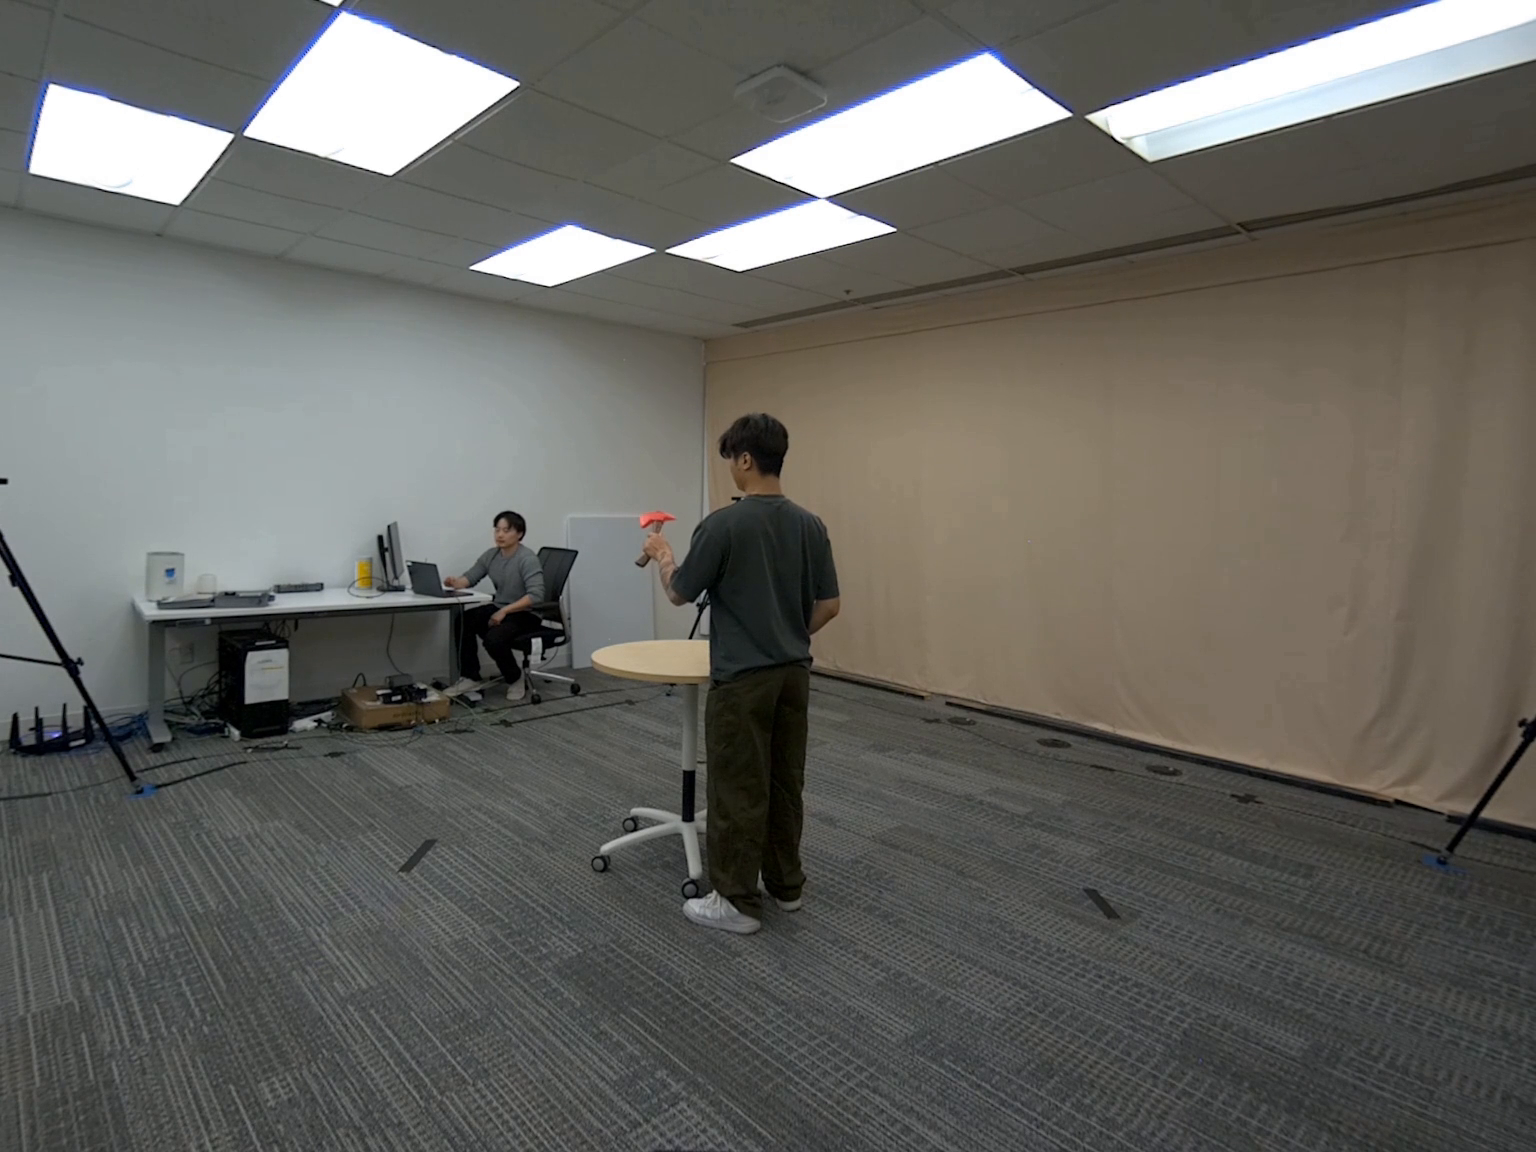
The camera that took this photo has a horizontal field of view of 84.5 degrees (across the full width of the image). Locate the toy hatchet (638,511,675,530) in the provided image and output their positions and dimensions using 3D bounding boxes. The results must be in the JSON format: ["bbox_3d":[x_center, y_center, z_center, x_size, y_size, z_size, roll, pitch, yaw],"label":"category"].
[{"bbox_3d":[-0.434,-0.140,3.017,0.133,0.029,0.272,15,50,14],"label":"toy hatchet"}]
